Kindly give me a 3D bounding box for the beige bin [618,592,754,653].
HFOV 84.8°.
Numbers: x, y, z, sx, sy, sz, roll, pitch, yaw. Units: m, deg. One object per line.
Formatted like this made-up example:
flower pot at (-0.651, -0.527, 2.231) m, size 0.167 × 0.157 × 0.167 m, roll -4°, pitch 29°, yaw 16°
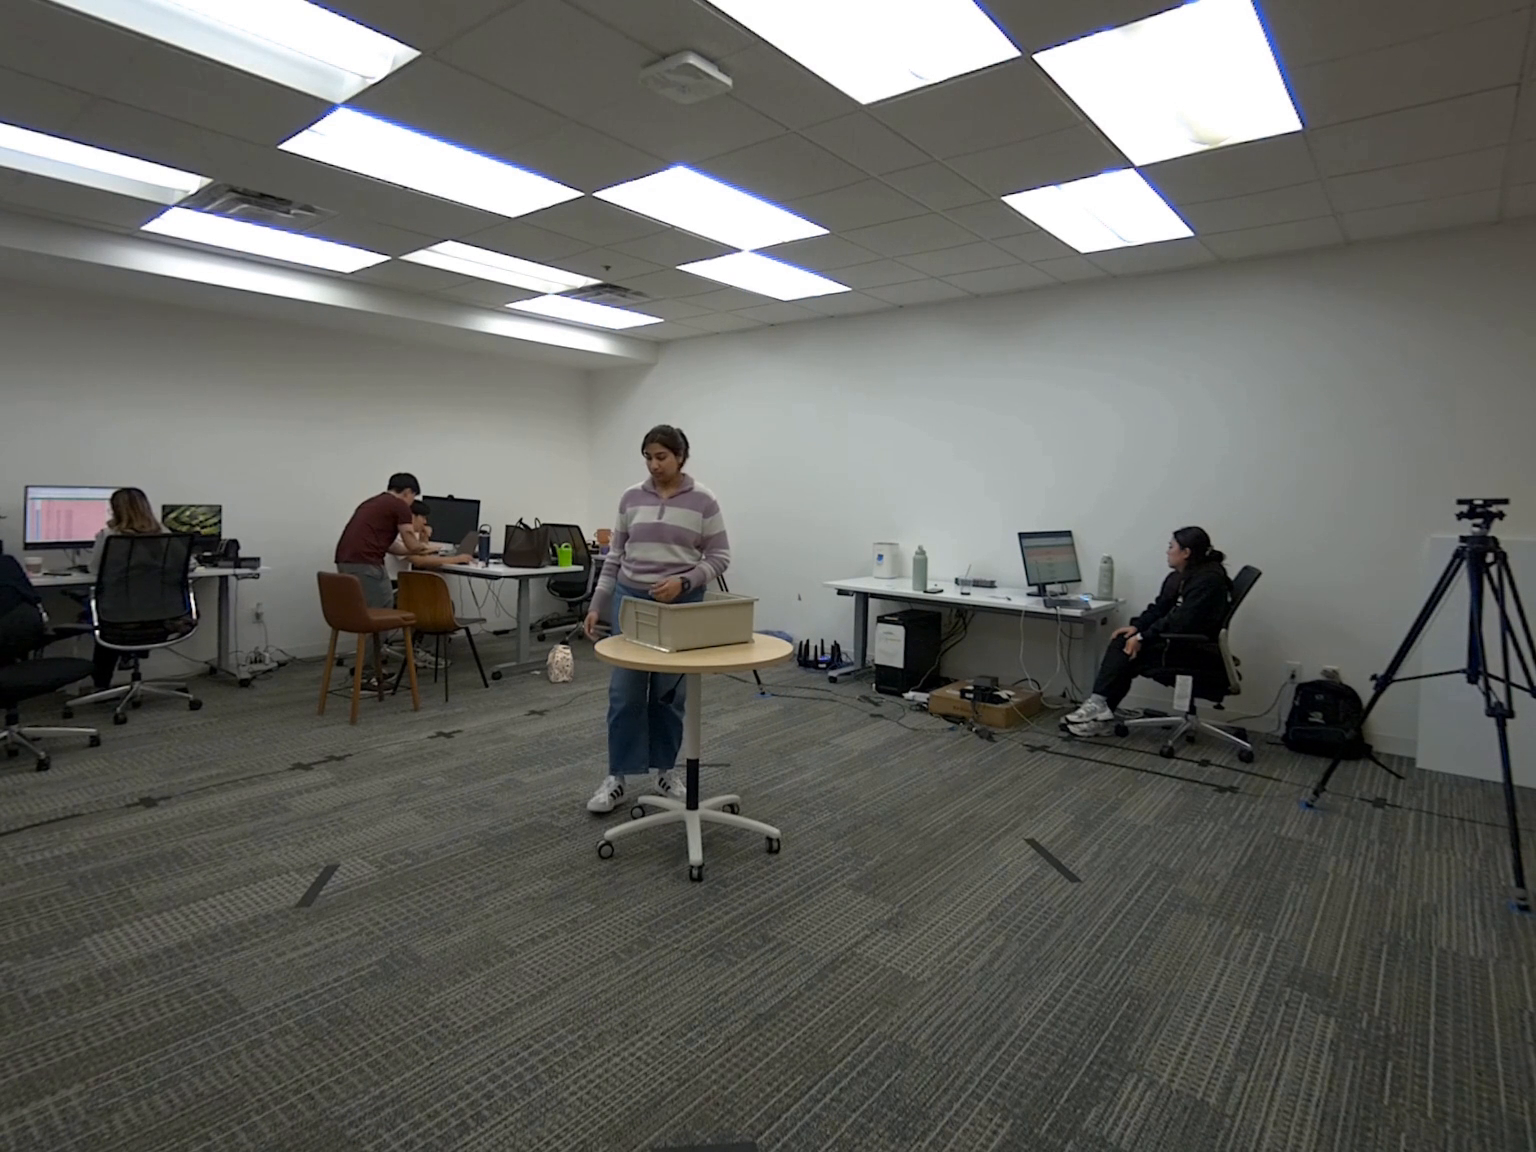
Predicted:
beige bin at (-0.337, 0.166, 3.387) m, size 0.410 × 0.188 × 0.390 m, roll -1°, pitch 7°, yaw -37°
